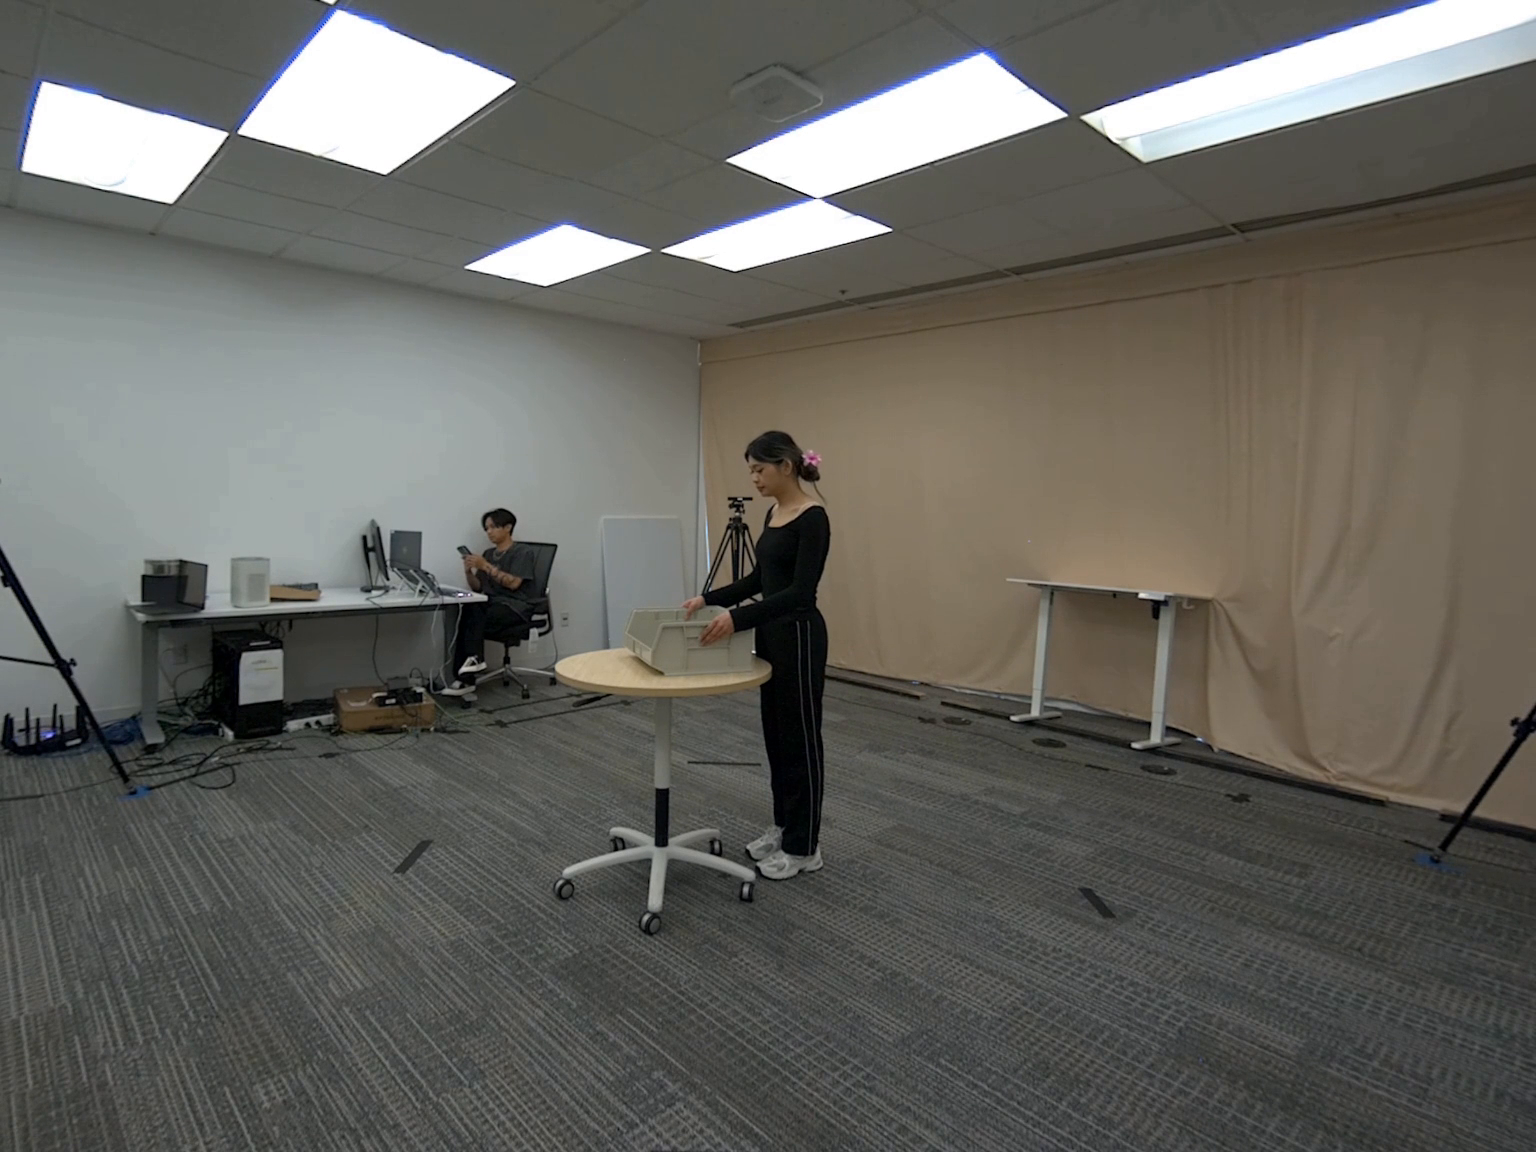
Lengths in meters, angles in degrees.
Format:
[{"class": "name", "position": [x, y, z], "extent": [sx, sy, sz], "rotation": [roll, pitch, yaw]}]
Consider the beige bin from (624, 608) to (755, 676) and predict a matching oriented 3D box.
[{"class": "beige bin", "position": [-0.301, 0.226, 3.032], "extent": [0.371, 0.189, 0.430], "rotation": [1, 3, -21]}]
